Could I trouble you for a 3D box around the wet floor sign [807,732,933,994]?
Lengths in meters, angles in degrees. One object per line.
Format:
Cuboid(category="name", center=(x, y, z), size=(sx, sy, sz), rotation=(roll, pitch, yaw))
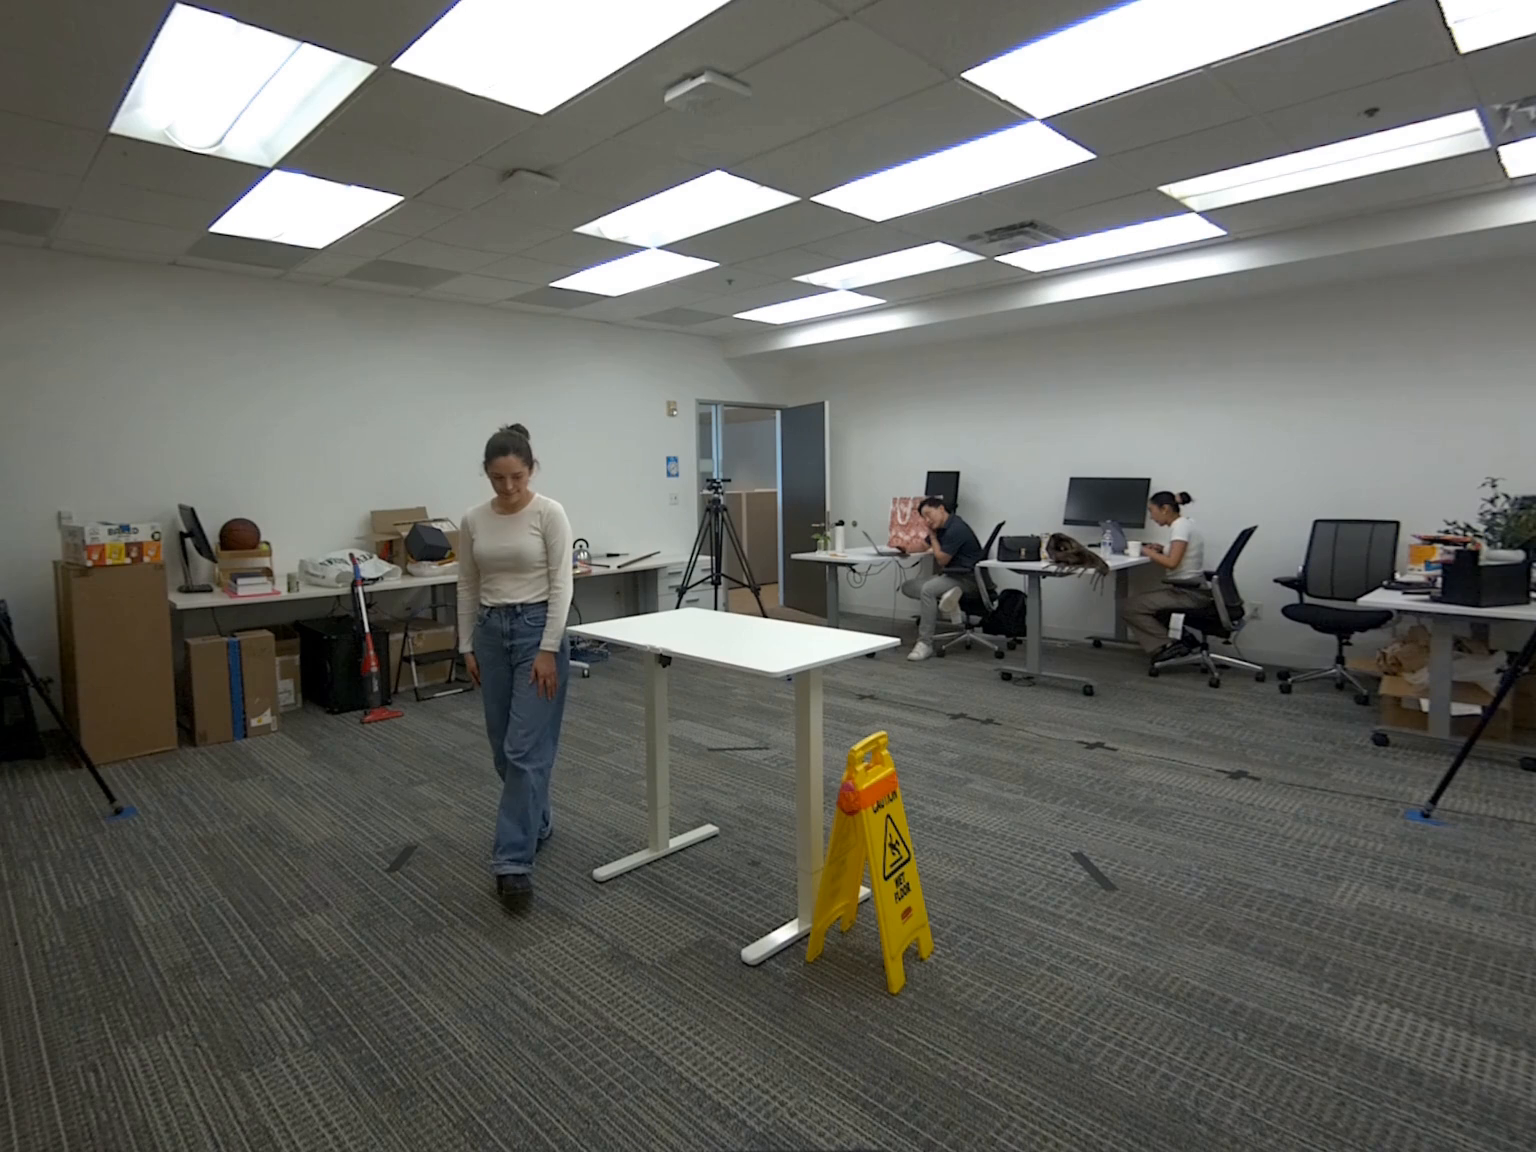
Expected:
Cuboid(category="wet floor sign", center=(0.301, 0.792, 2.465), size=(0.298, 0.643, 0.275), rotation=(3, 7, 36))
